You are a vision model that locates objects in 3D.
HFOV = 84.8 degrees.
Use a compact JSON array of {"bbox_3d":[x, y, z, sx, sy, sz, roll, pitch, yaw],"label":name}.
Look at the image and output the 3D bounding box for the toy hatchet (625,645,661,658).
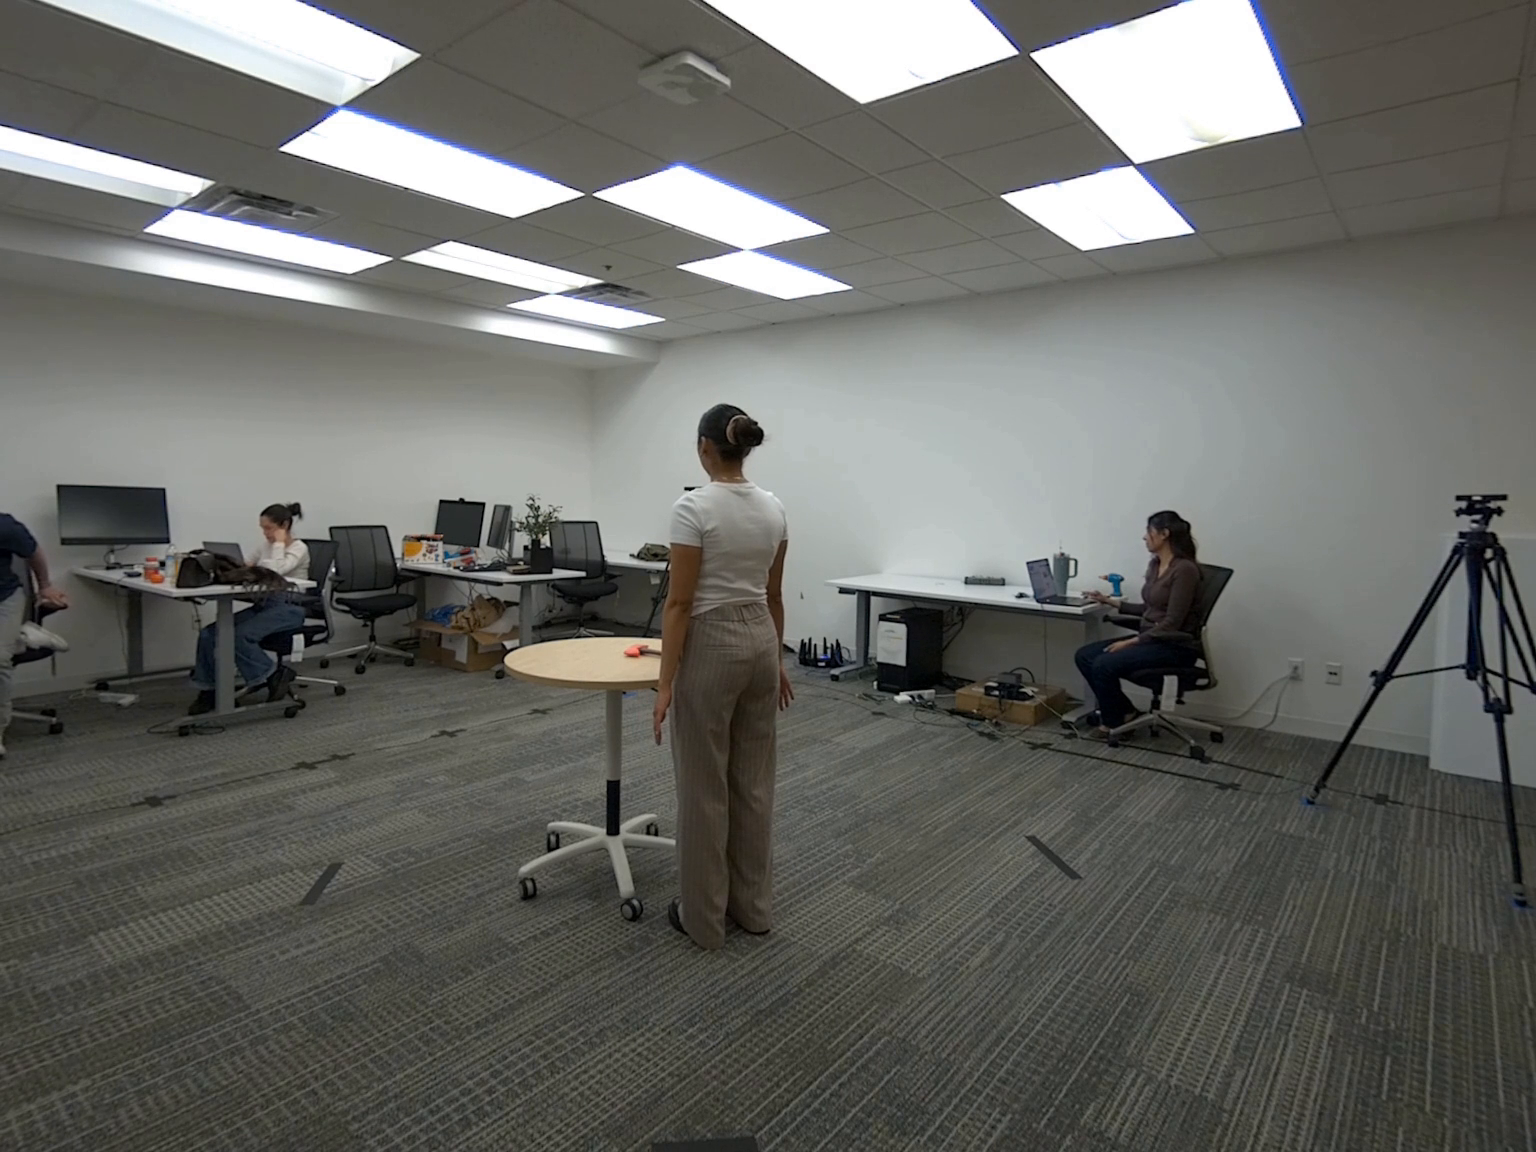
[{"bbox_3d":[-0.414,0.277,3.010,0.127,0.029,0.280,-5,10,-41],"label":"toy hatchet"}]
